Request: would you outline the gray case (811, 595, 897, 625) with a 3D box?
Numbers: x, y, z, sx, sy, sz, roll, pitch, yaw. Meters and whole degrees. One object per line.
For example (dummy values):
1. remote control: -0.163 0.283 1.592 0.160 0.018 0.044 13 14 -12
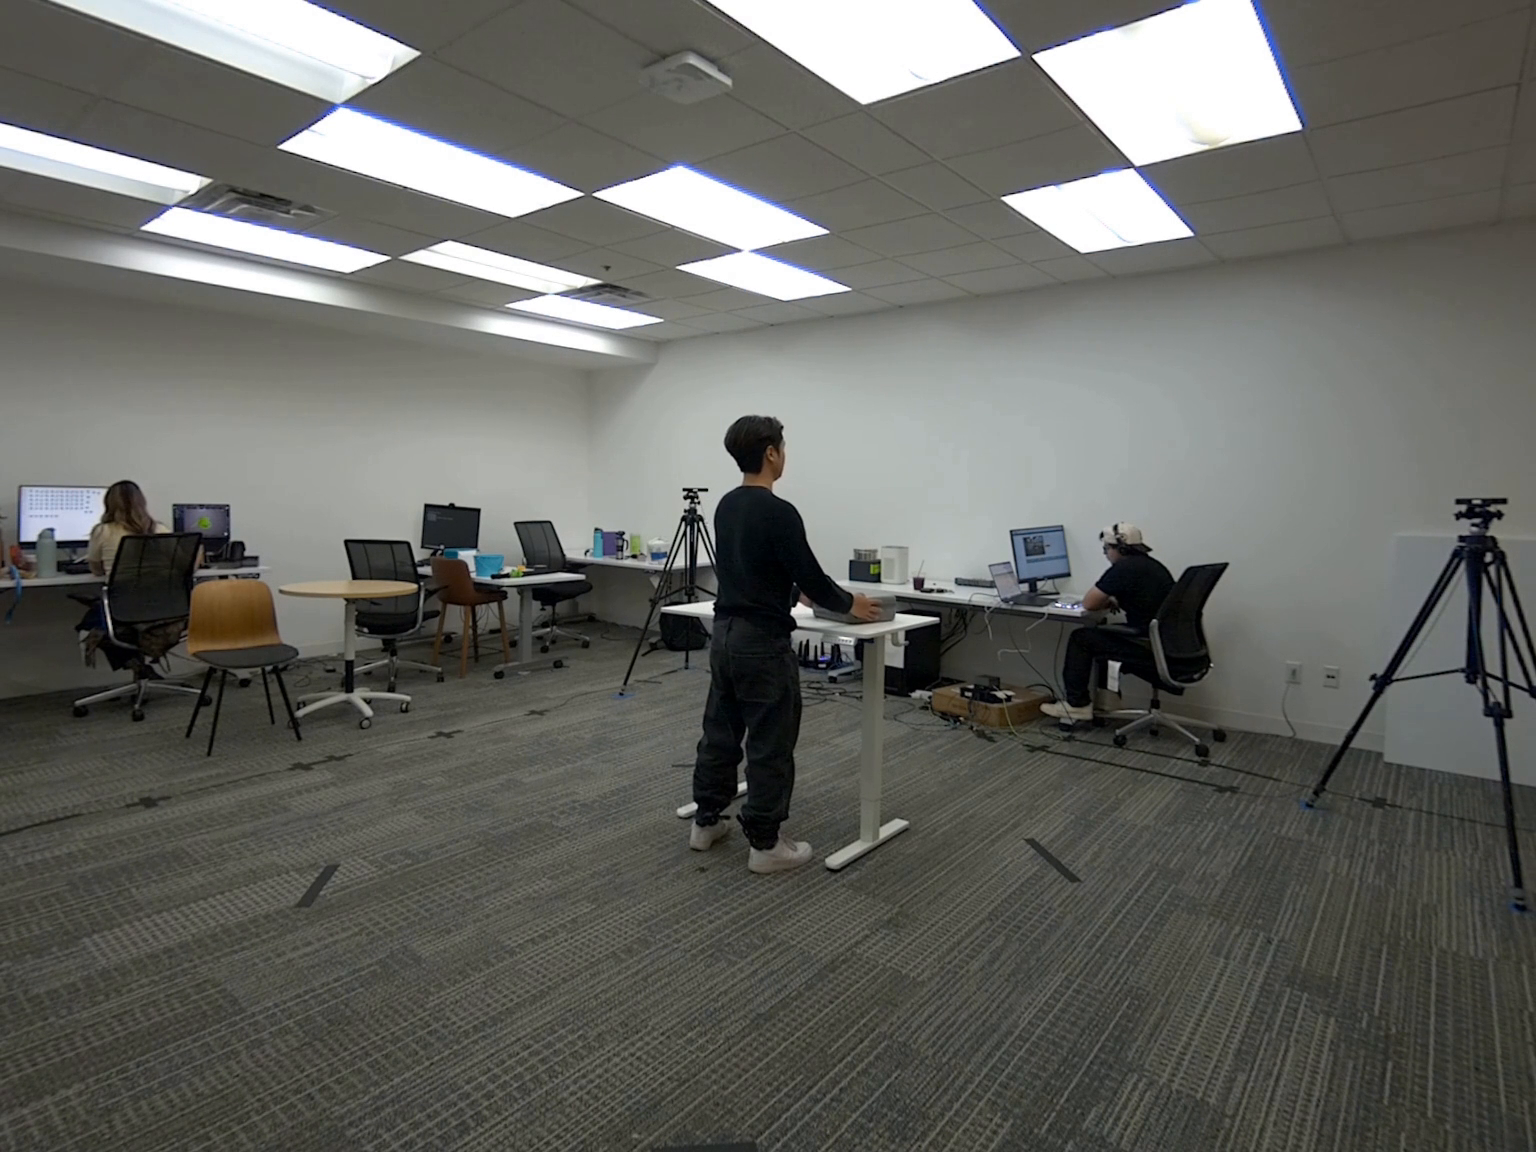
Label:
1. gray case: 0.334 0.119 3.389 0.253 0.104 0.265 -2 6 -33
